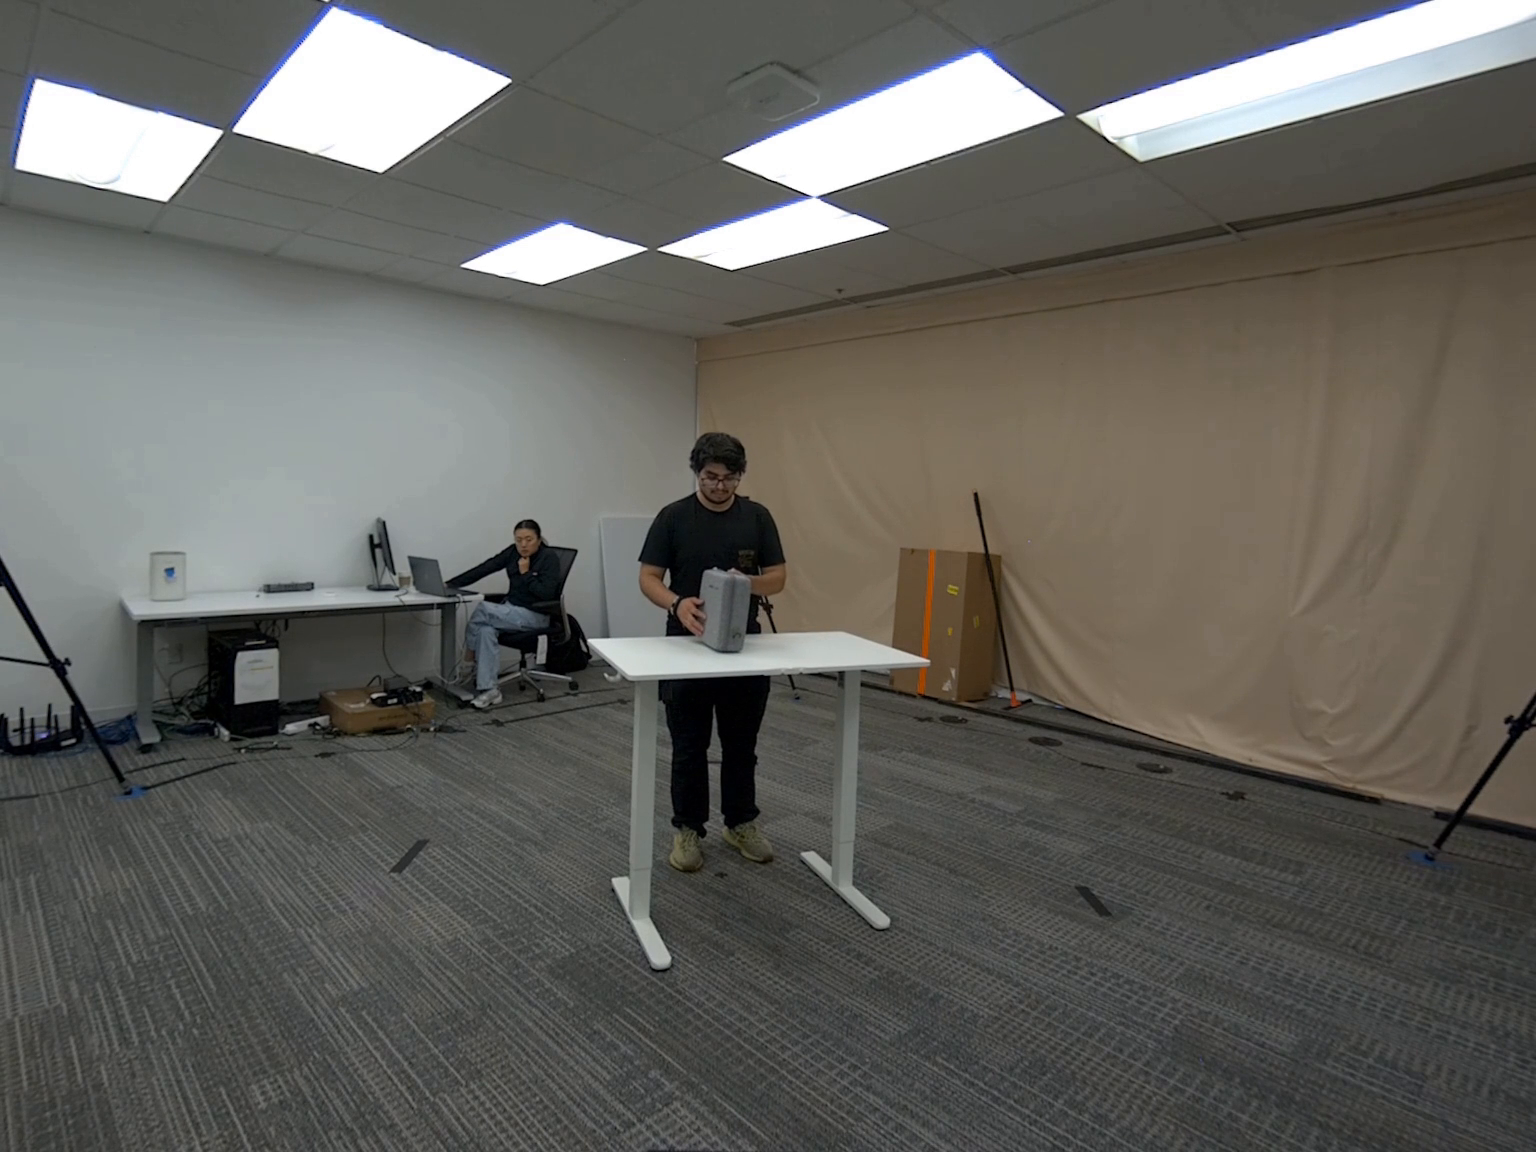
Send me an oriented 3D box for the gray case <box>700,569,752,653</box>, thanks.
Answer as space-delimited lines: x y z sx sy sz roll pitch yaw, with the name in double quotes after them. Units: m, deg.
-0.163 0.112 2.843 0.103 0.260 0.261 6 4 -19 "gray case"
